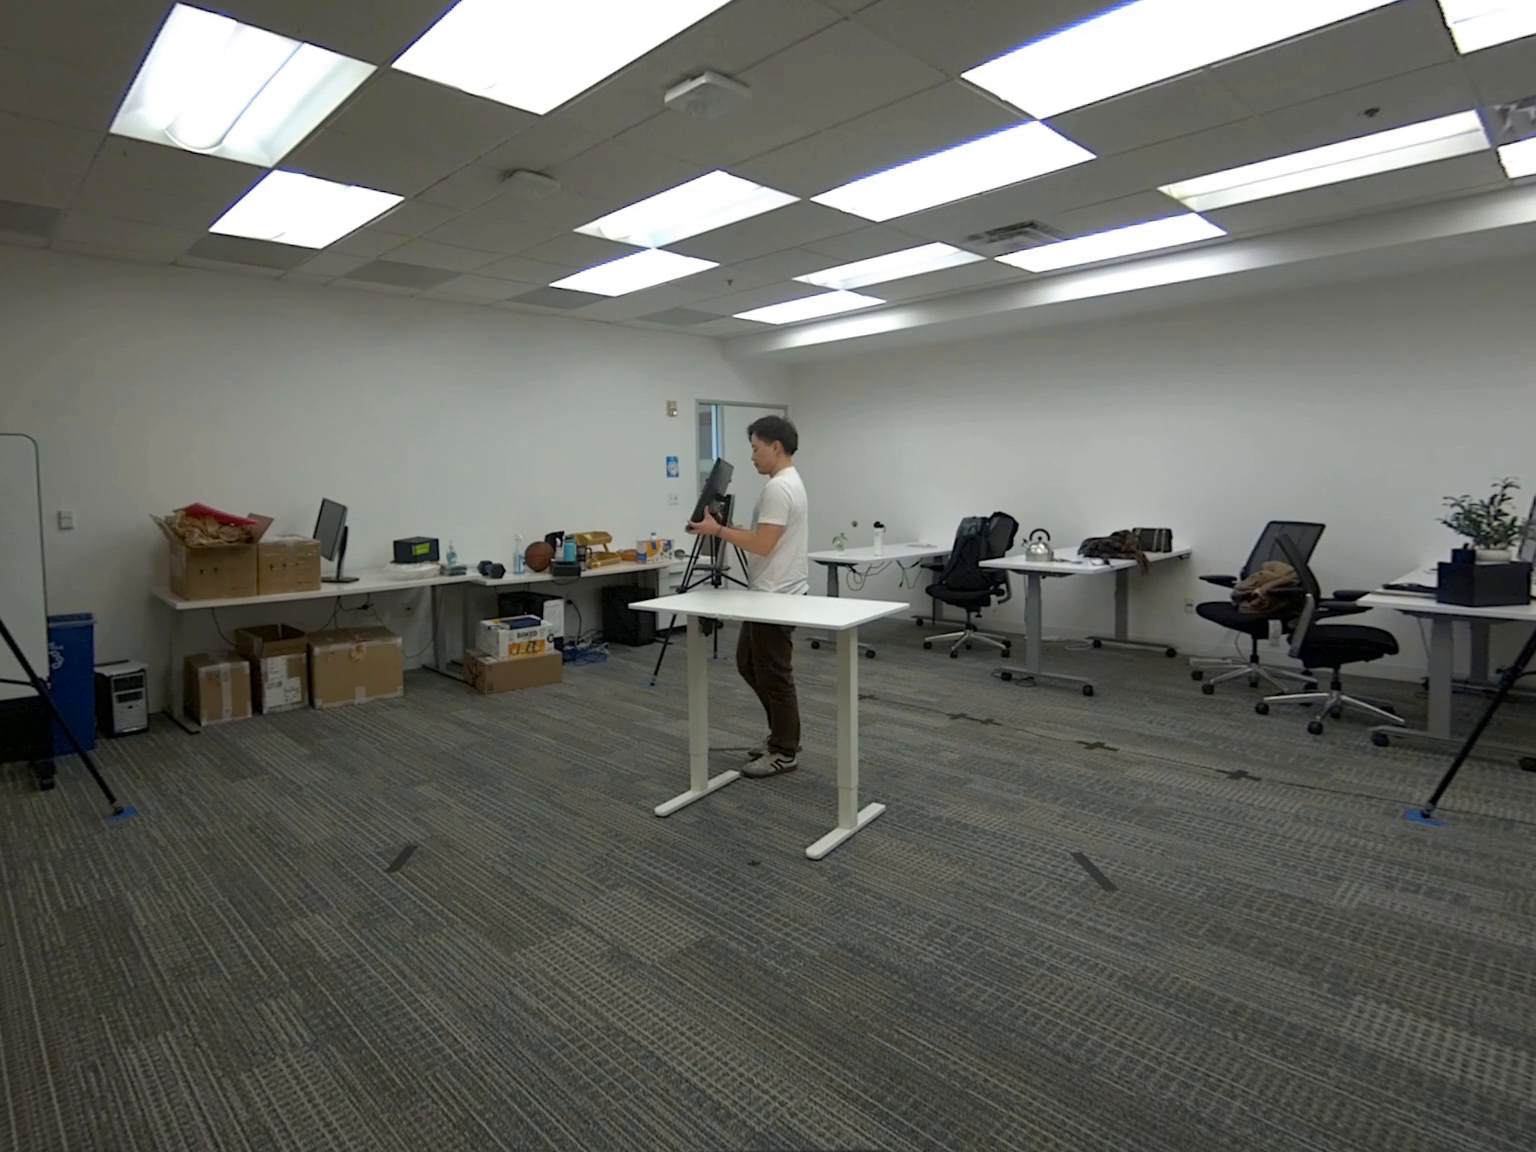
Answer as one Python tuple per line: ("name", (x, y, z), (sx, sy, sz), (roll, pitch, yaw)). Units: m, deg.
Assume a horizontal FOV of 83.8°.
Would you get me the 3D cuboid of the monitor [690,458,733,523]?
("monitor", (-0.244, -0.292, 4.086), (0.188, 0.522, 0.538), (8, 2, 2))
